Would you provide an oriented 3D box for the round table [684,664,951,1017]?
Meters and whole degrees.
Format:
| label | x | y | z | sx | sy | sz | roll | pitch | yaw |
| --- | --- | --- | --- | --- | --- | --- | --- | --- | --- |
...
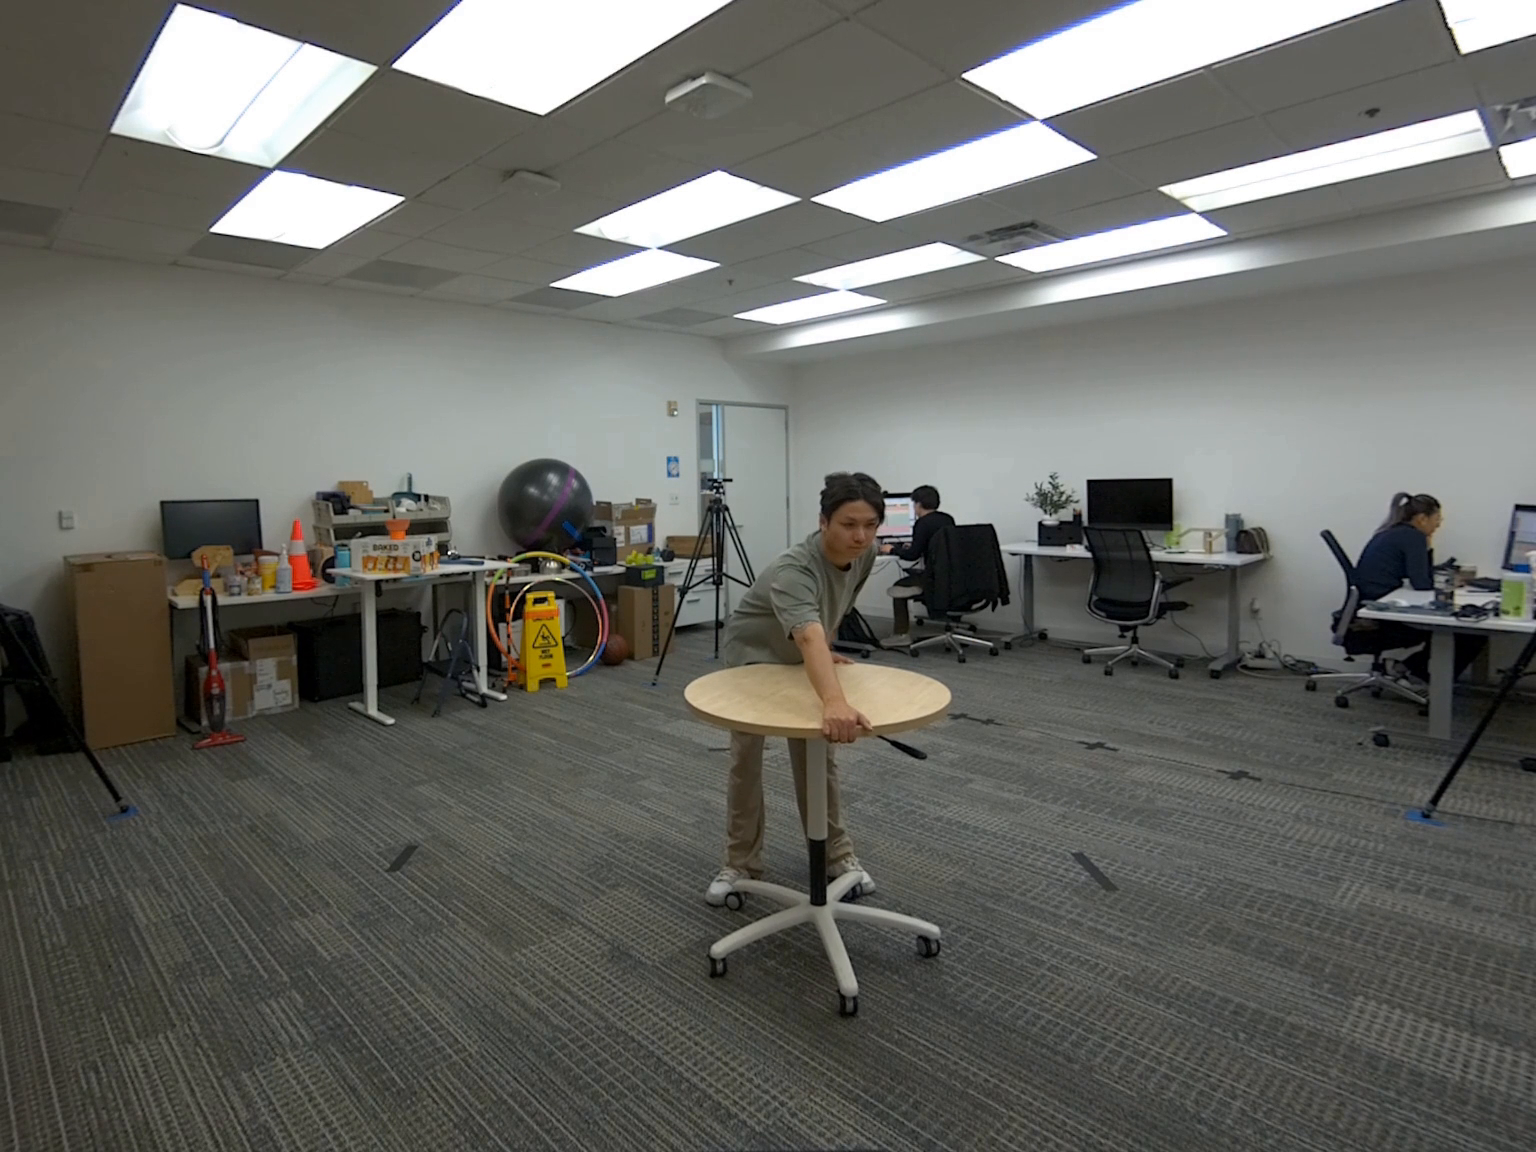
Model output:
| label | x | y | z | sx | sy | sz | roll | pitch | yaw |
| --- | --- | --- | --- | --- | --- | --- | --- | --- | --- |
| round table | 0.156 | 0.721 | 2.509 | 0.784 | 0.783 | 0.789 | -1 | 5 | -2 |
